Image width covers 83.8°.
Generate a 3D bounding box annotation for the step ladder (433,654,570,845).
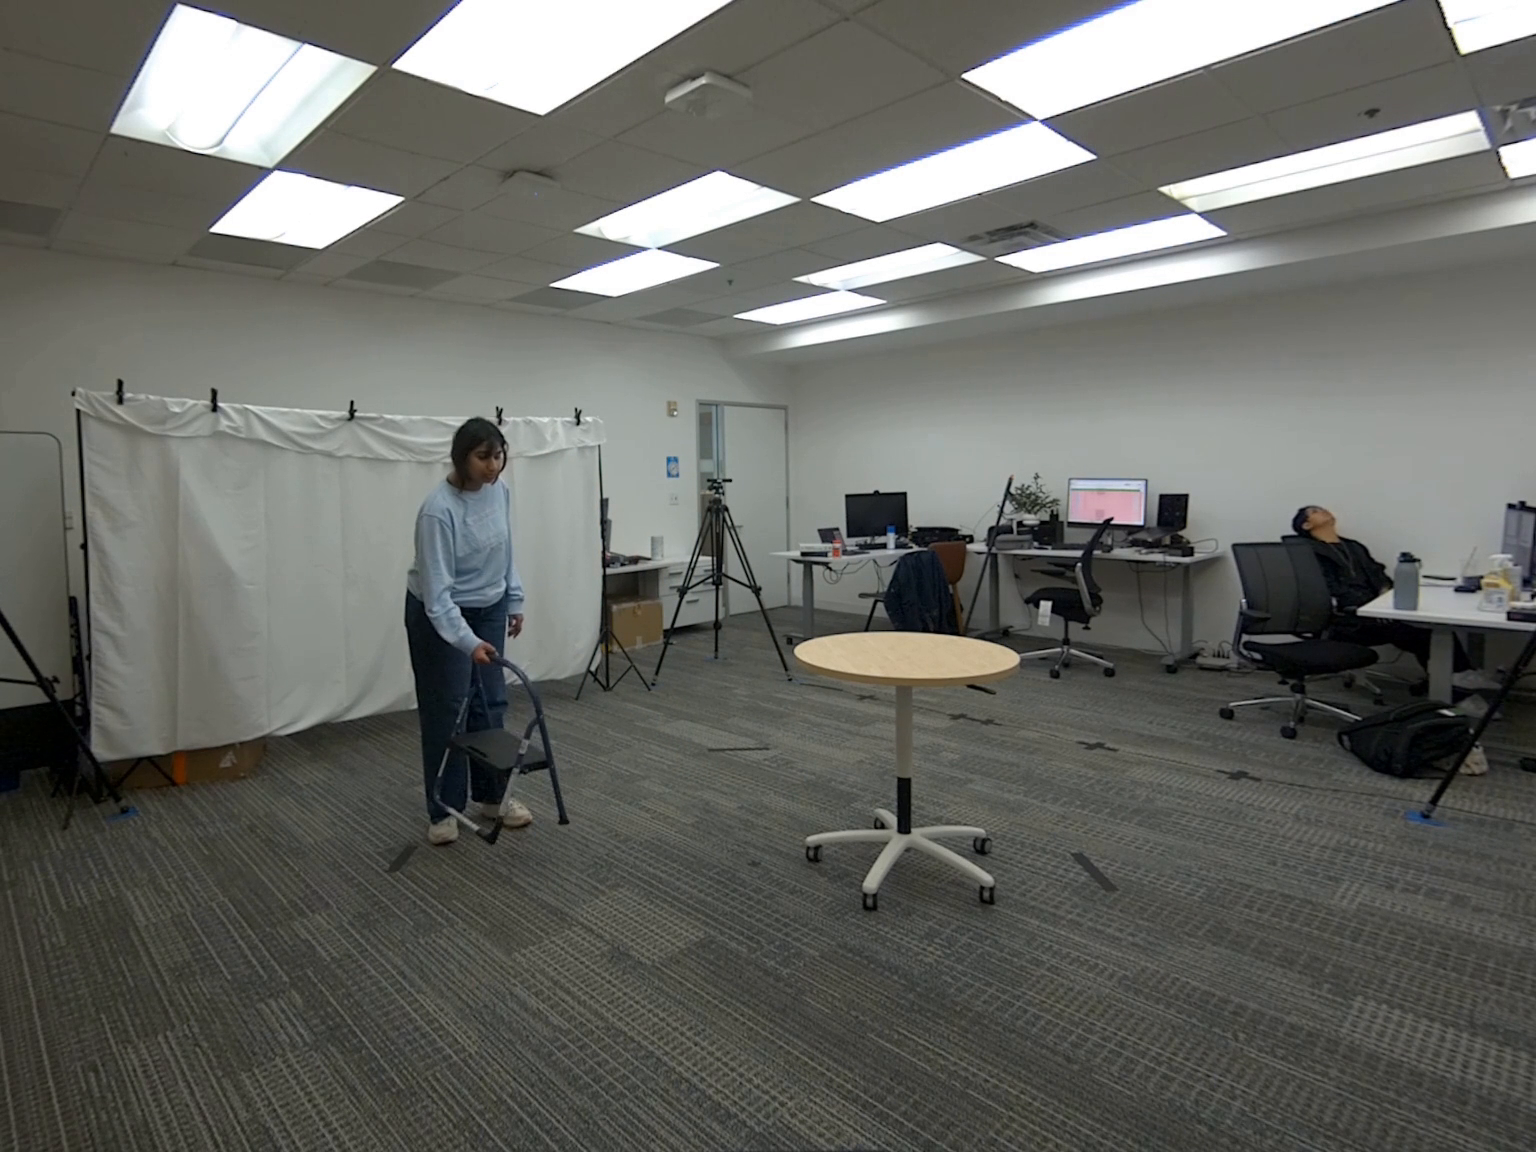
[{"bbox_3d":[-0.965,0.588,3.171,0.445,0.603,0.339,12,7,38],"label":"step ladder"}]
